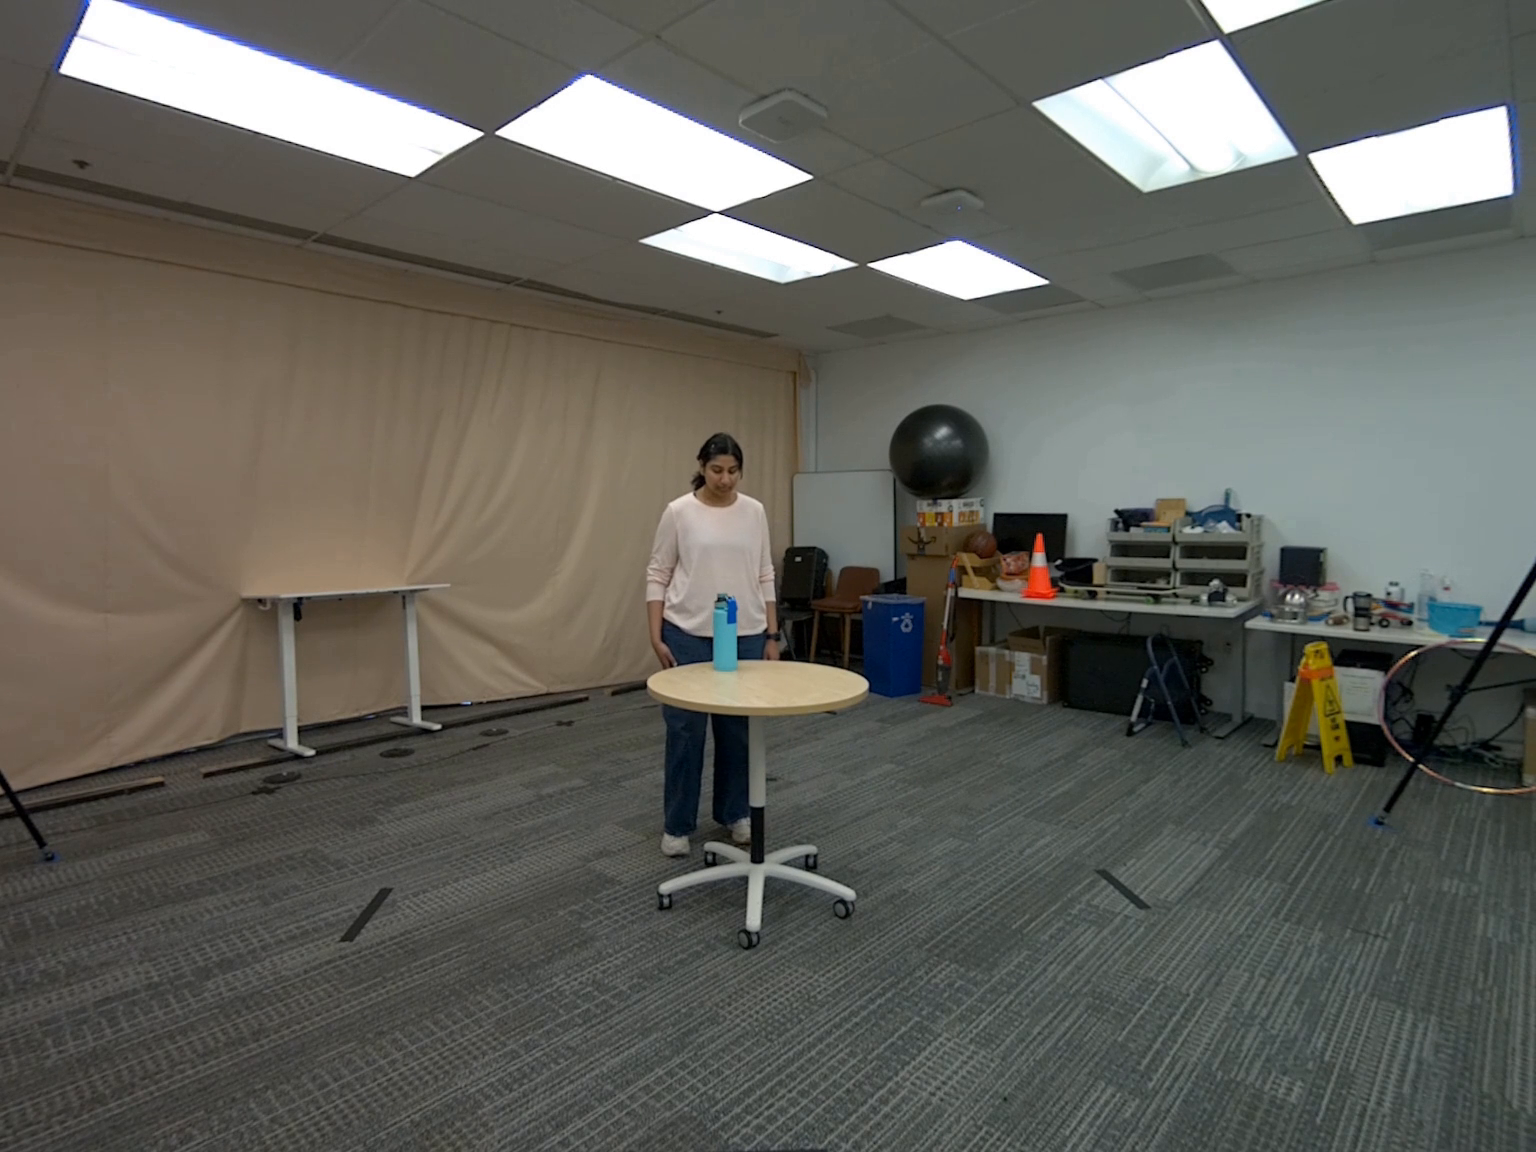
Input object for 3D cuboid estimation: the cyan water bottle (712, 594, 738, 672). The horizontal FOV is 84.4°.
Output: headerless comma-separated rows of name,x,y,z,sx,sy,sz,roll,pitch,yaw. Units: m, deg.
cyan water bottle,-0.161,0.207,3.133,0.092,0.283,0.093,0,4,-2
